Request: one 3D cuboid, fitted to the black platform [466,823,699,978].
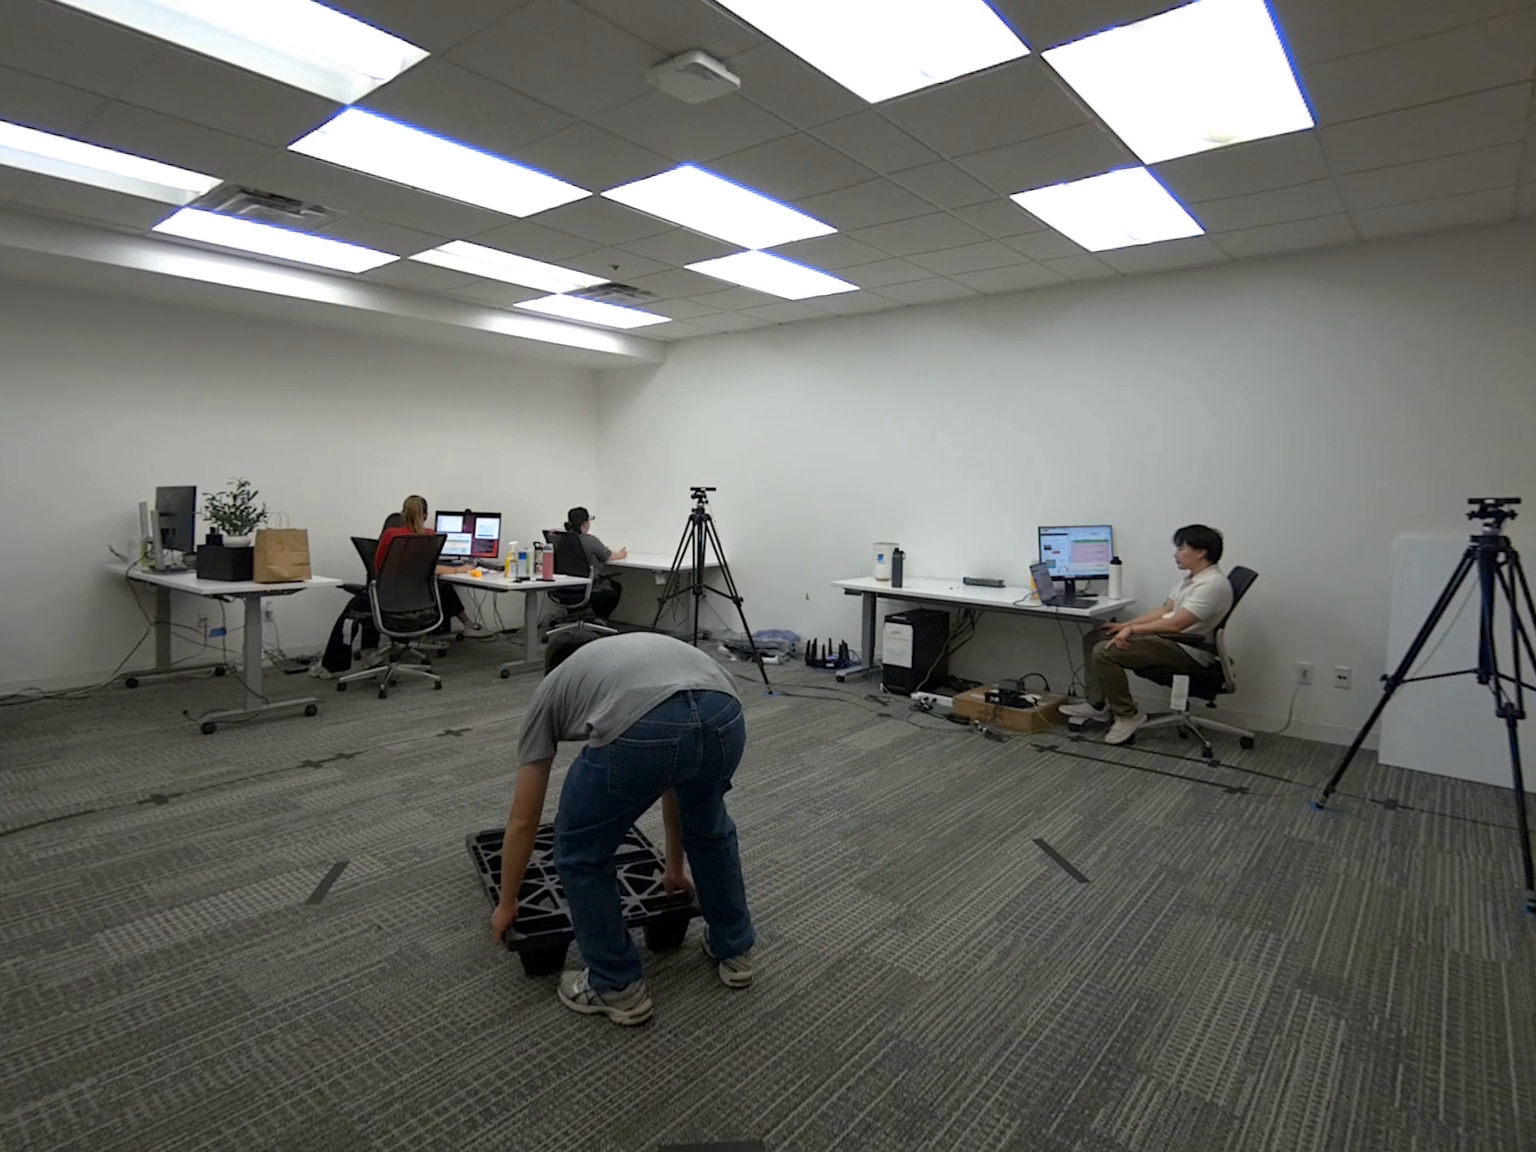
[{"bbox_3d":[-0.641,1.008,2.815,0.590,0.143,0.828,0,5,-26],"label":"black platform"}]
